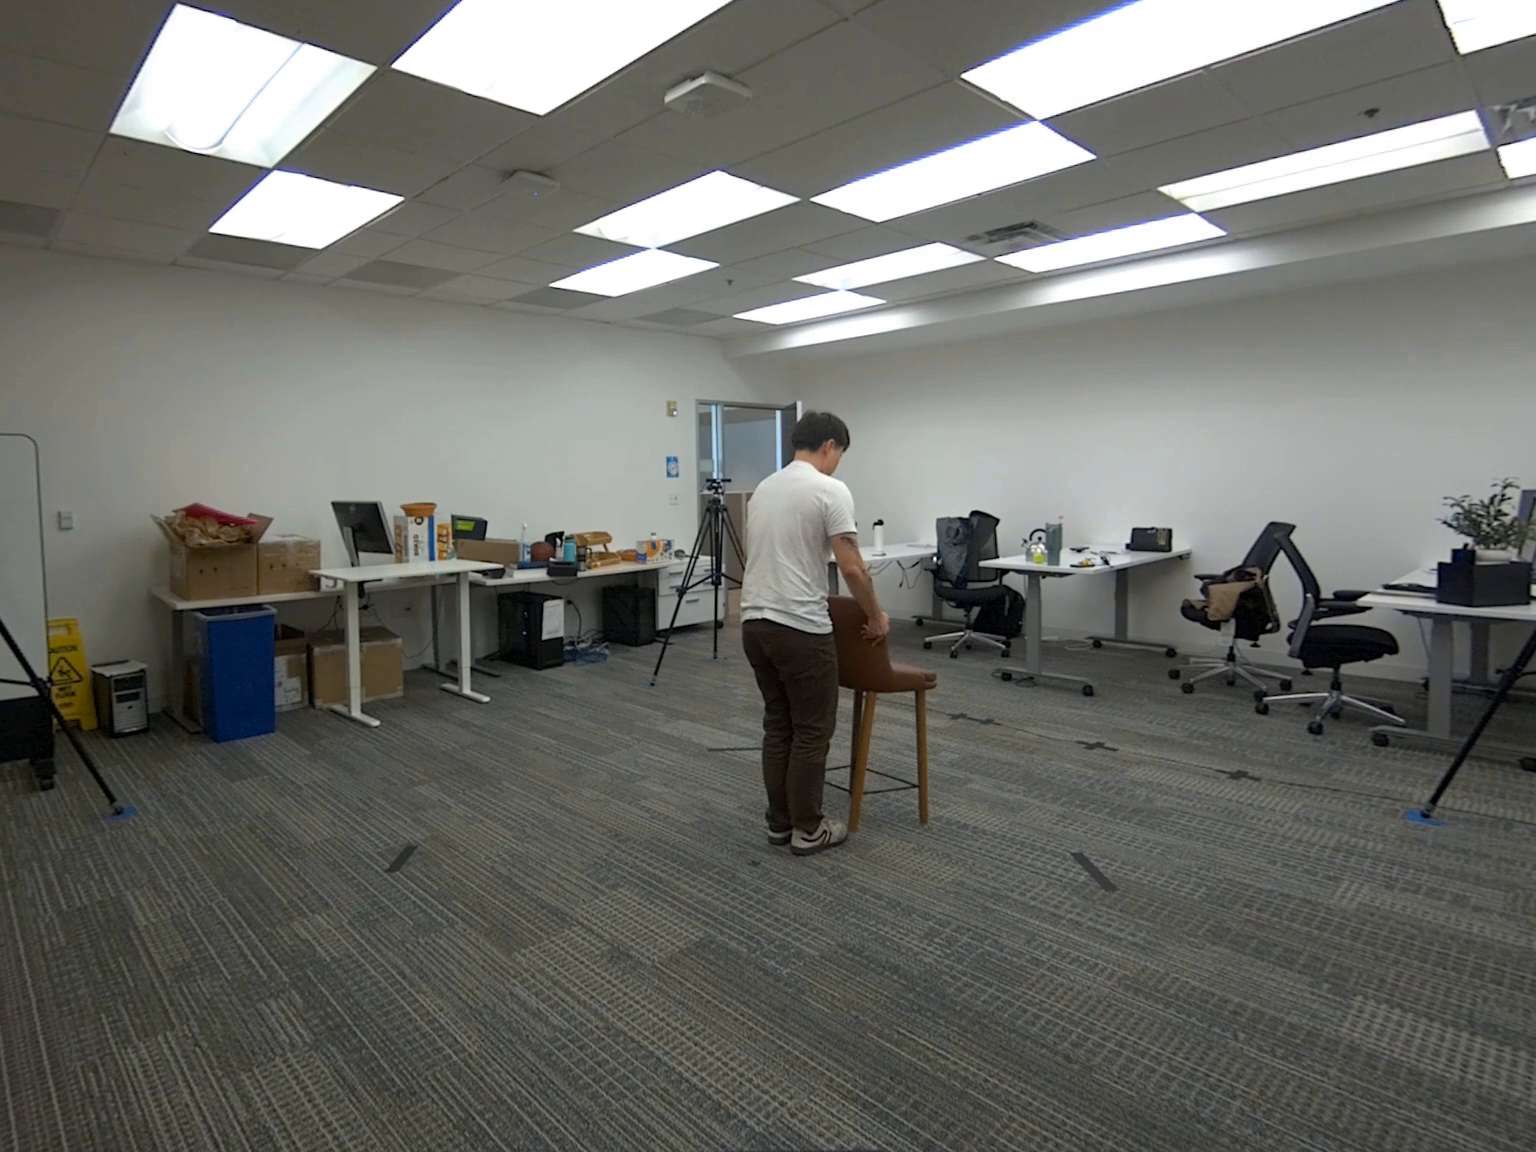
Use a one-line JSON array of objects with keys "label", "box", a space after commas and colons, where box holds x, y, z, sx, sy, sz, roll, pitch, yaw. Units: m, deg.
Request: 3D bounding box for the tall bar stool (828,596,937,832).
[{"label": "tall bar stool", "box": [0.386, 0.525, 3.480, 0.453, 0.890, 0.470, 4, -1, -42]}]
